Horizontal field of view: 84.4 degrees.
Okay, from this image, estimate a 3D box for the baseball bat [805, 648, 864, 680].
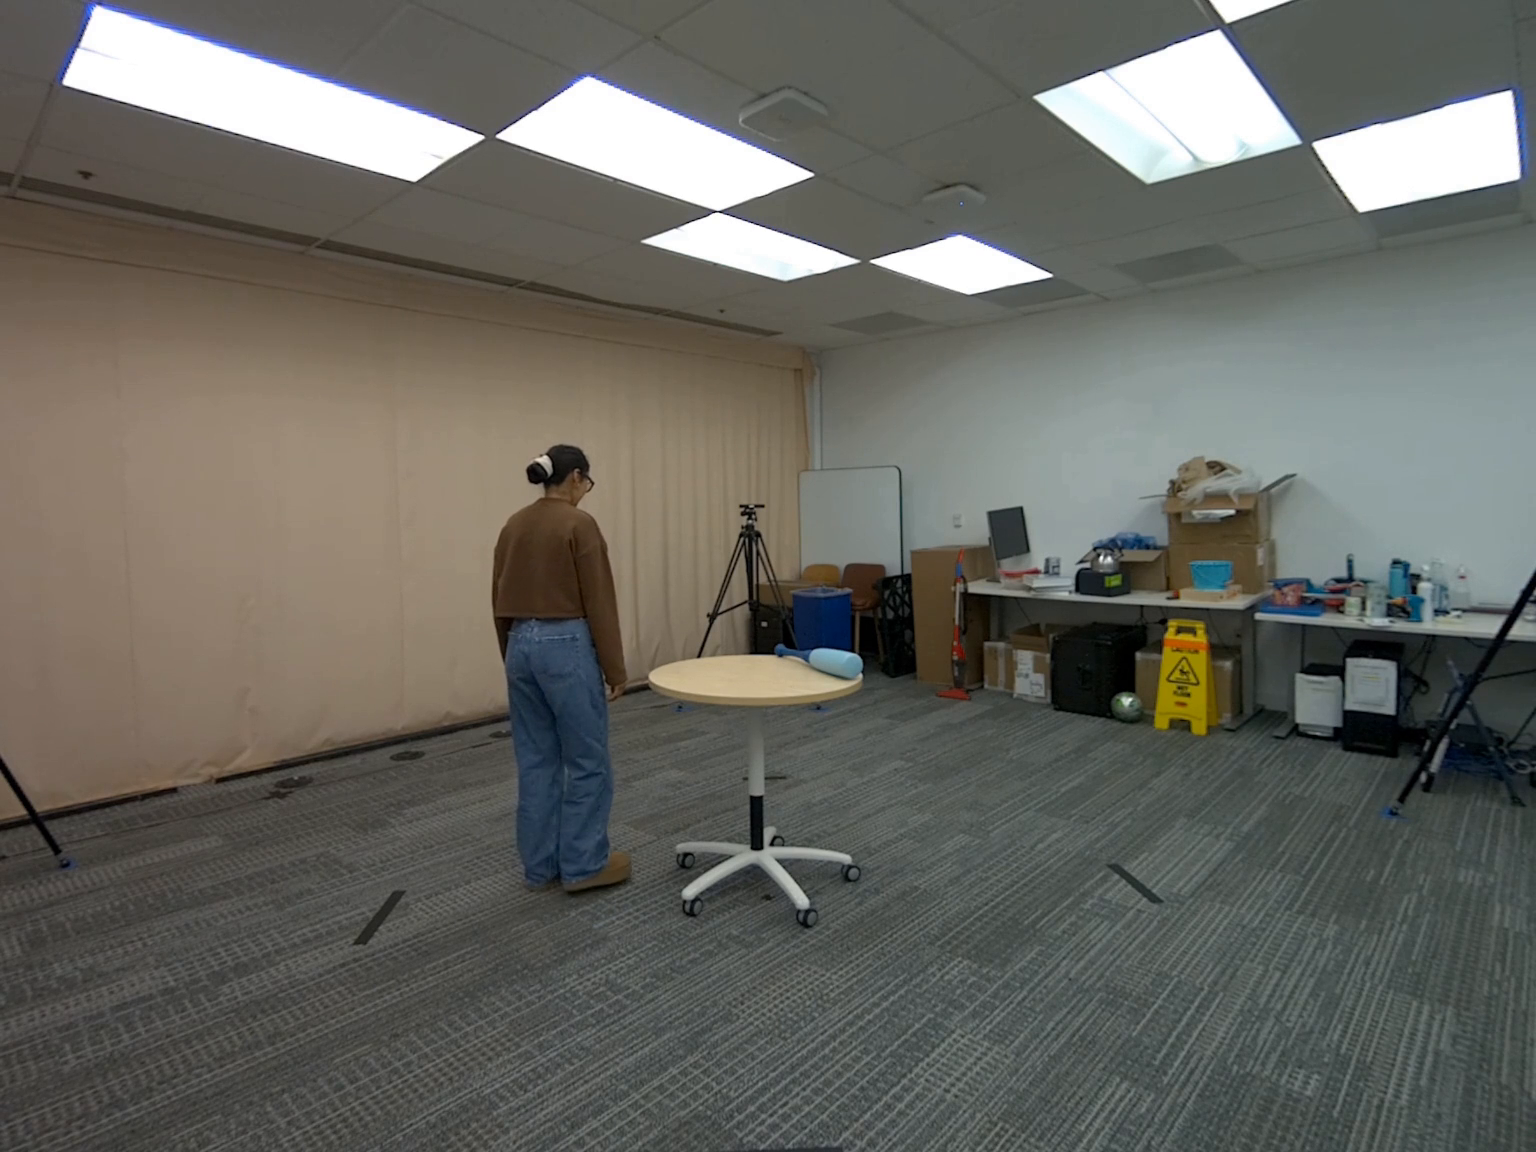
[{"bbox_3d":[0.176,0.310,3.138,0.087,0.089,0.556,-3,2,-26],"label":"baseball bat"}]
